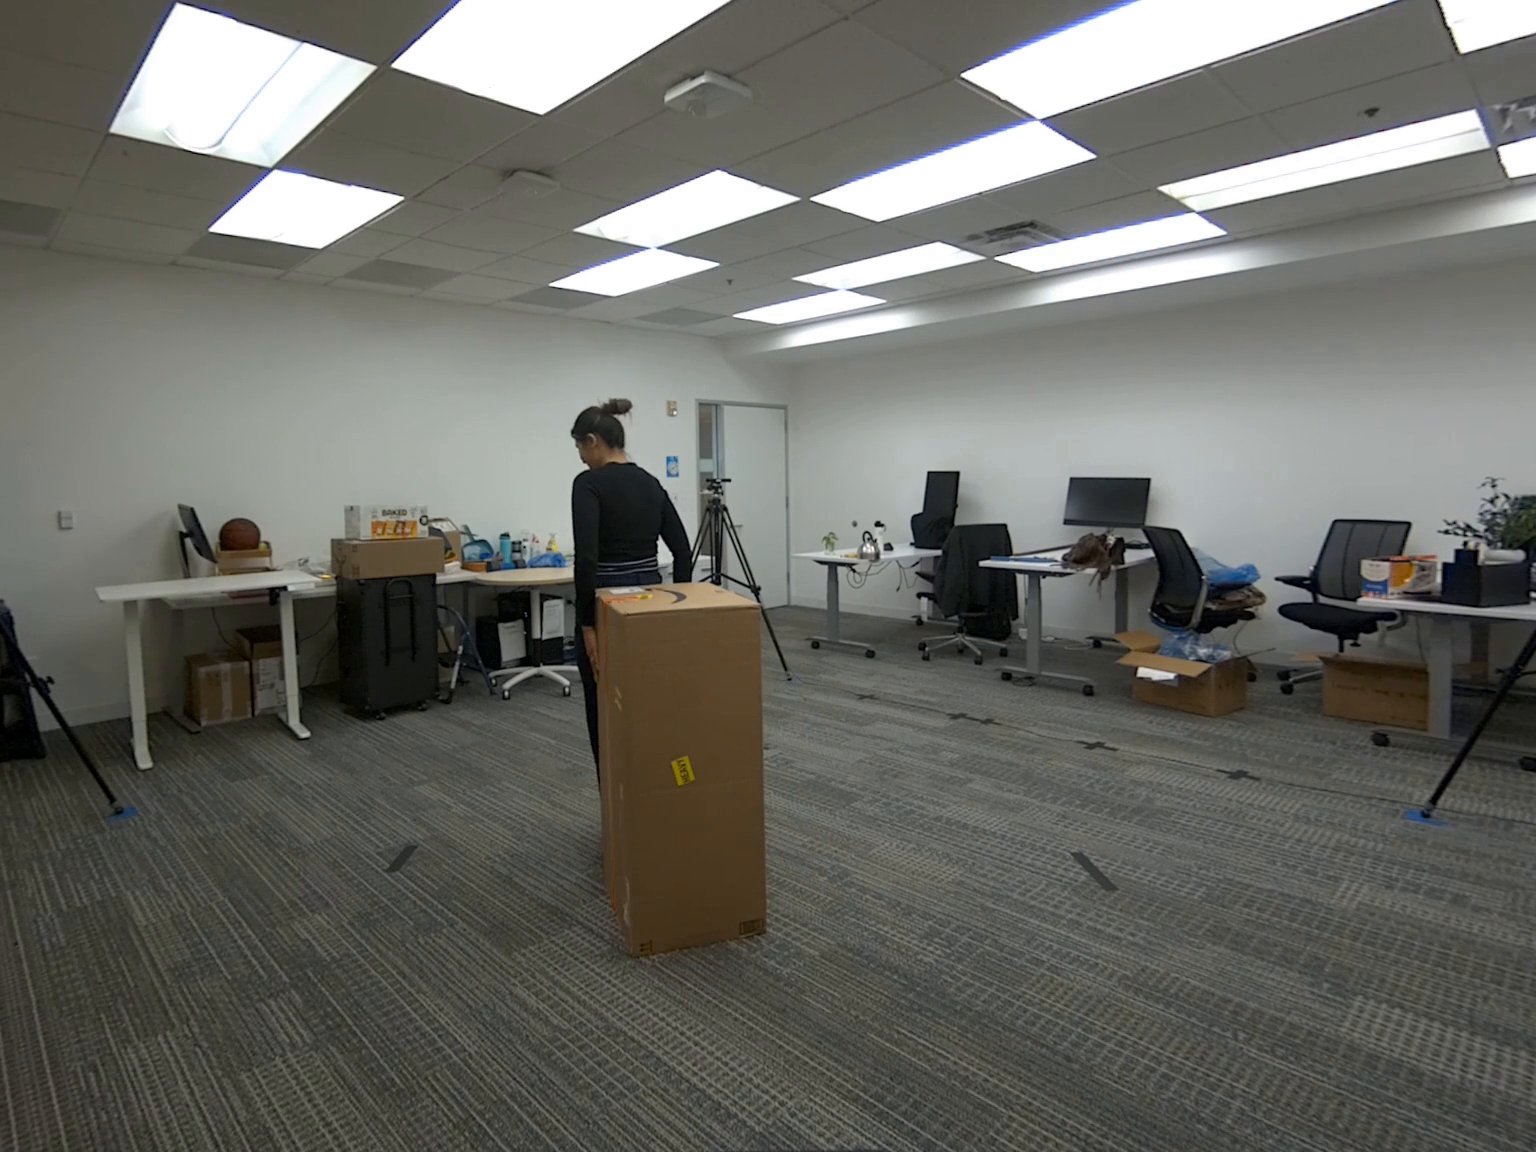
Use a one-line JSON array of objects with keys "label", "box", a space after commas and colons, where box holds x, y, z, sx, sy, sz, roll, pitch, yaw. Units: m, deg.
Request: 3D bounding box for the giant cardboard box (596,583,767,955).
[{"label": "giant cardboard box", "box": [-0.300, 0.575, 2.793, 0.419, 1.021, 0.590, -3, 5, -20]}]
